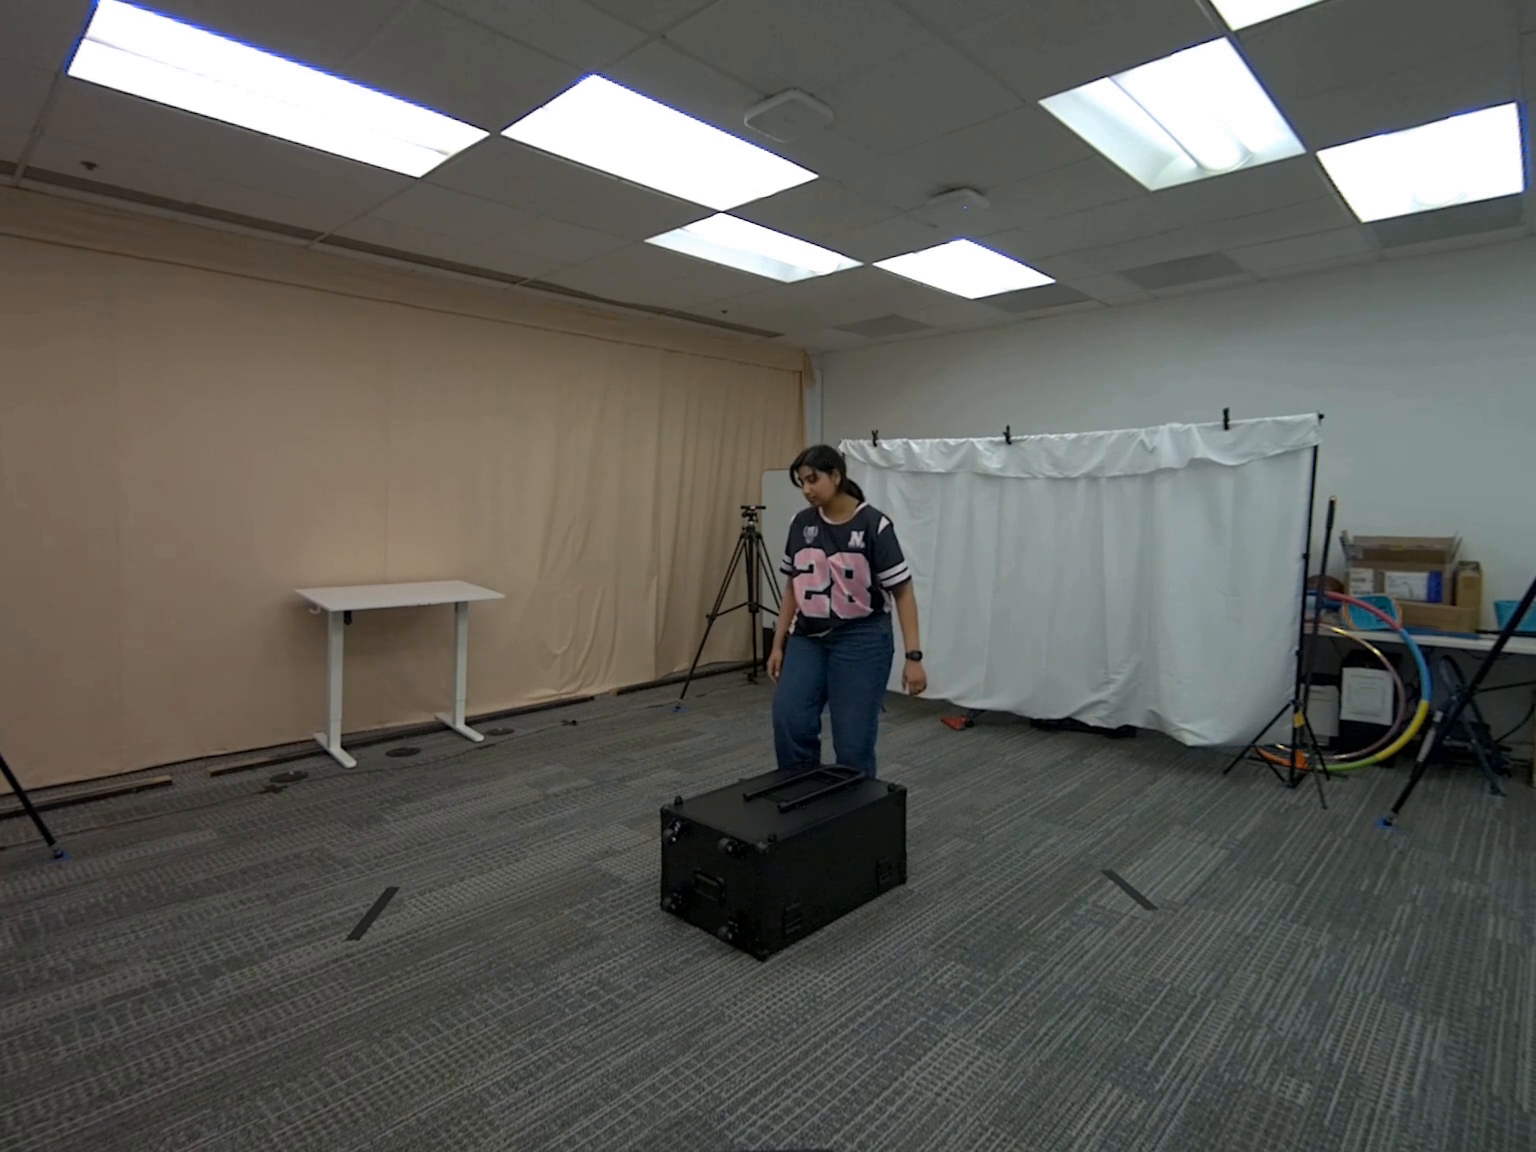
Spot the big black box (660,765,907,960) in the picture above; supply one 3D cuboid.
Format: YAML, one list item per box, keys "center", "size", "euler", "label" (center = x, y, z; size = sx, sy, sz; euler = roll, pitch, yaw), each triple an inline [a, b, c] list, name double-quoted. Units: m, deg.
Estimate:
- center: [0.052, 0.963, 2.962]
  size: [0.541, 0.384, 0.842]
  euler: [5, 7, 44]
  label: "big black box"
